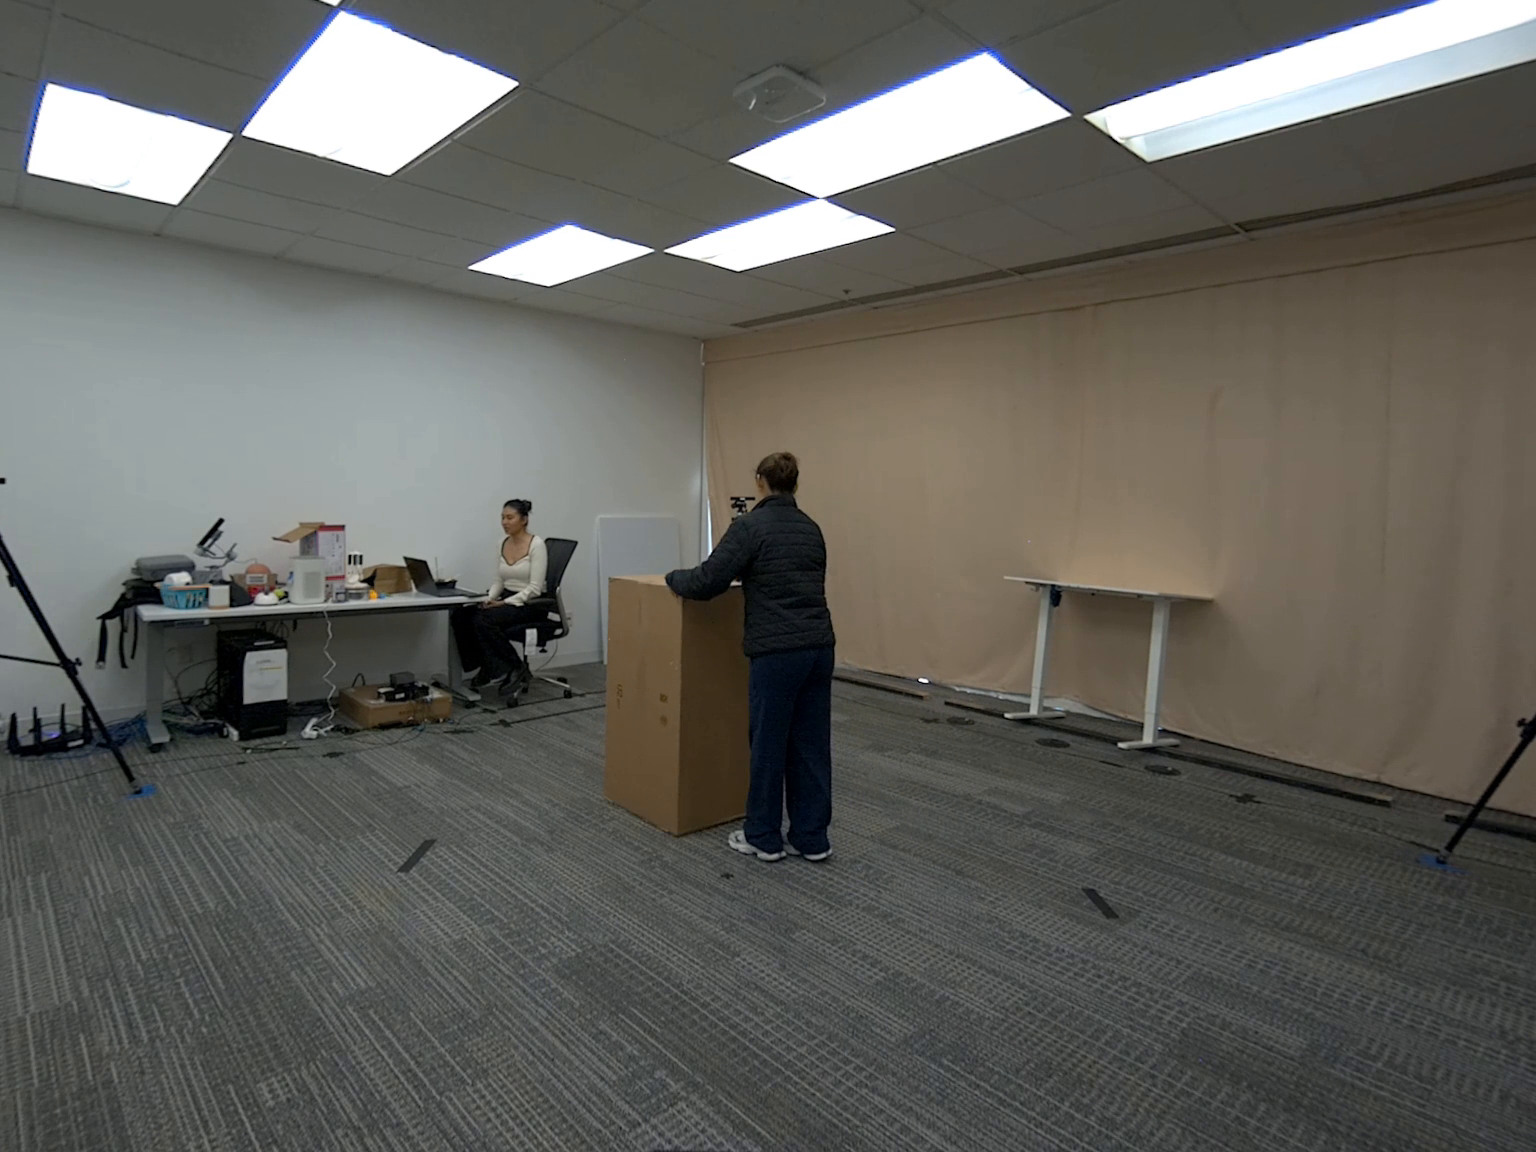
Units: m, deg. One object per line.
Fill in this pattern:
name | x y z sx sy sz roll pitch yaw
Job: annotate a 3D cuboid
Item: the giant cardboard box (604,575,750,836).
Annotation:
giant cardboard box | -0.406 0.528 3.768 0.436 1.025 0.599 0 4 -40
